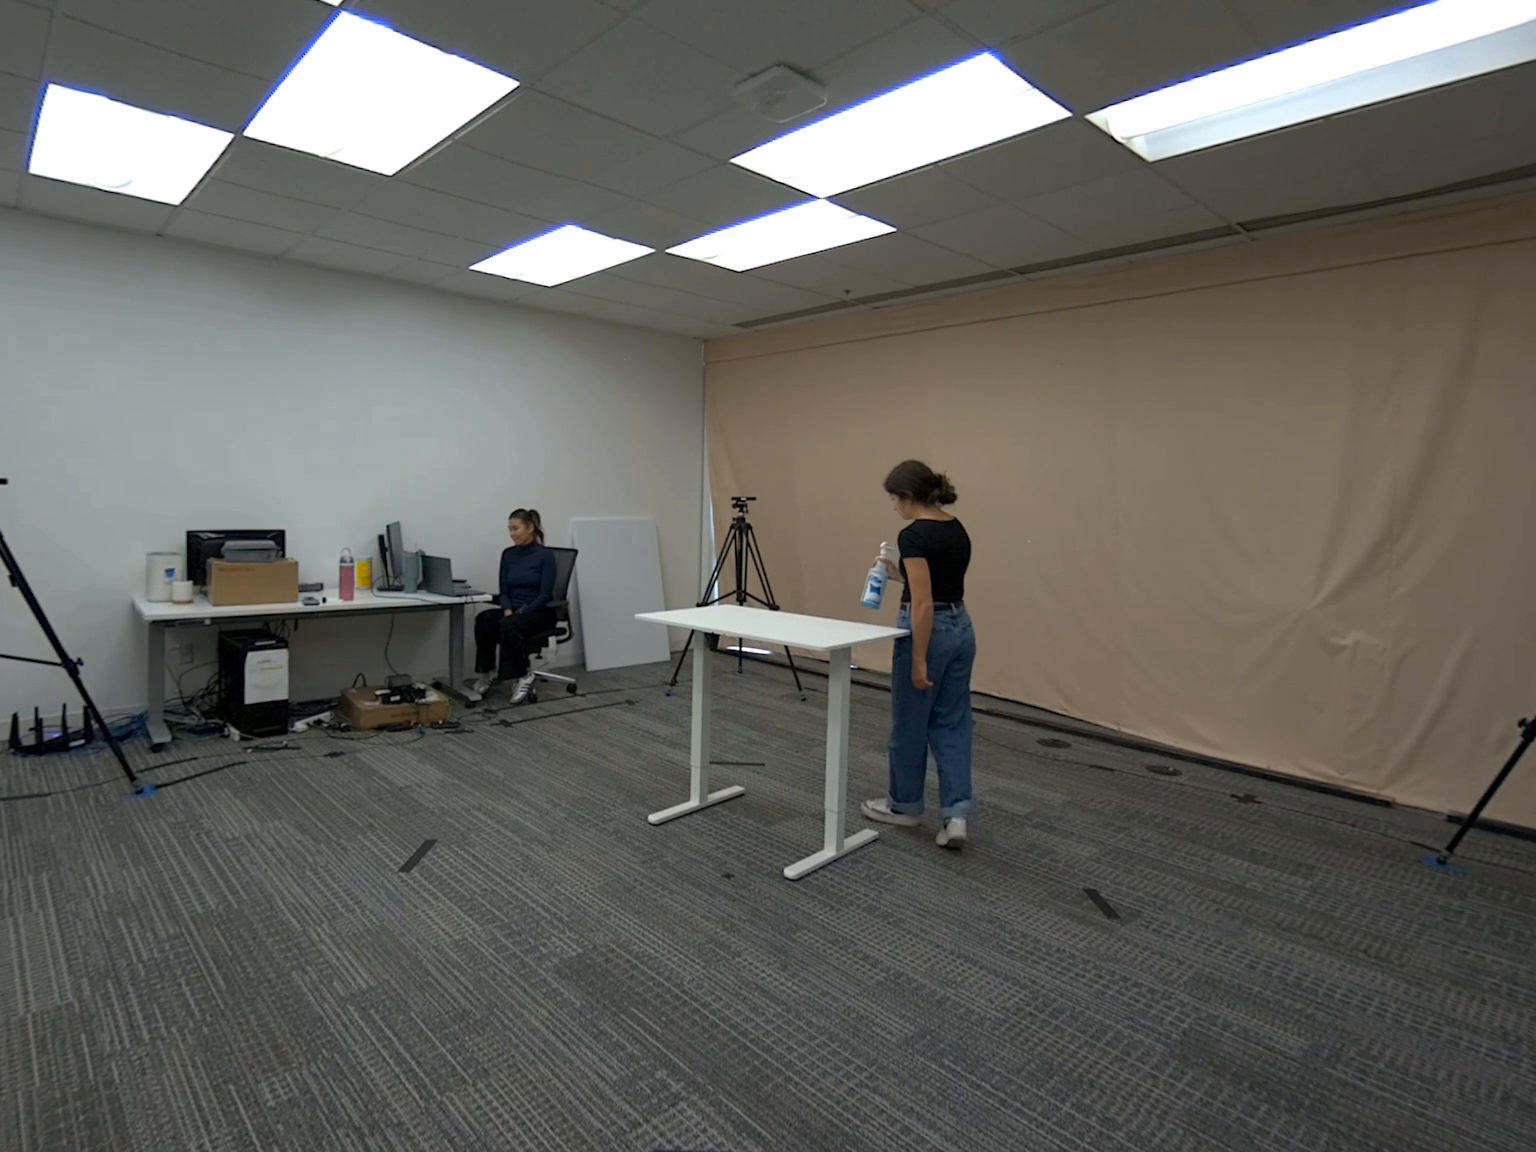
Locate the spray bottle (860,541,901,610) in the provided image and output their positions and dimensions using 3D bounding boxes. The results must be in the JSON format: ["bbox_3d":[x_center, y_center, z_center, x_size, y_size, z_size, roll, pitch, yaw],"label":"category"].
[{"bbox_3d":[0.475,-0.008,3.674,0.088,0.298,0.089,19,-6,-26],"label":"spray bottle"}]
